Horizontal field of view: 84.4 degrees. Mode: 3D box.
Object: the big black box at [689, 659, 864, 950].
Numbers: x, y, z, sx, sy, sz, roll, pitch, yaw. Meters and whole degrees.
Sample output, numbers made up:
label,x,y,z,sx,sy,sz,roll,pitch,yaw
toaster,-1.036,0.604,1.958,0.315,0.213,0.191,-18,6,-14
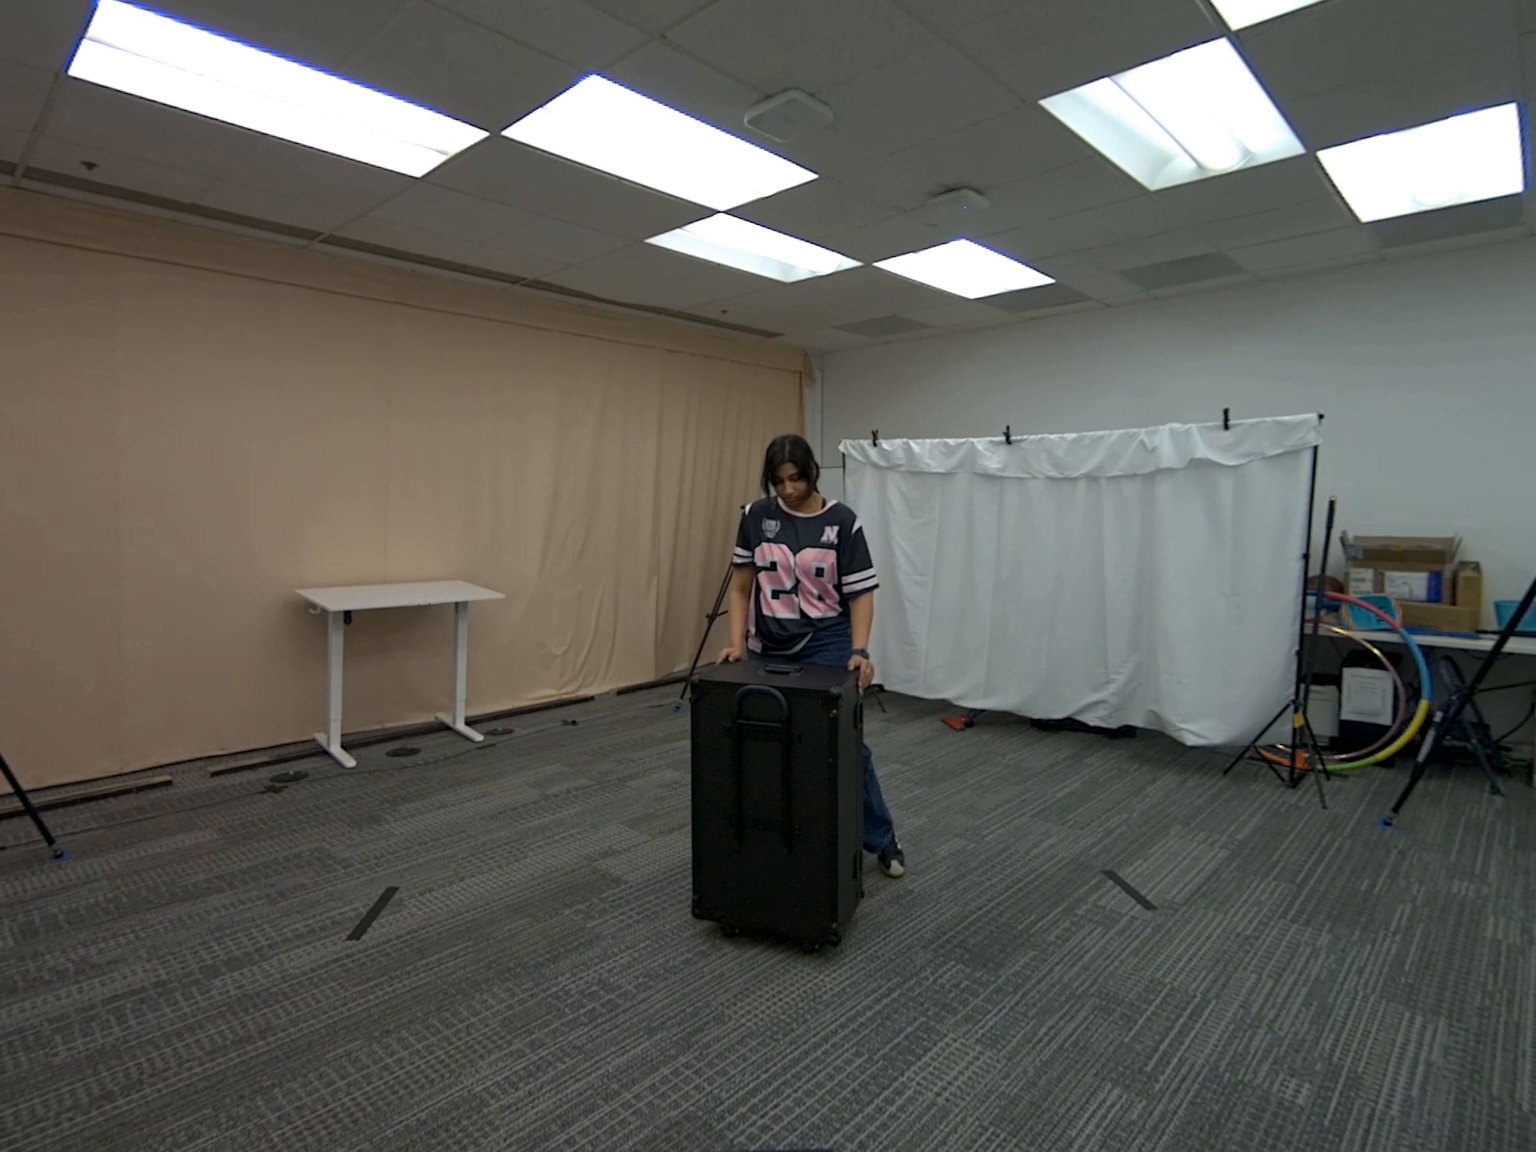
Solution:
label,x,y,z,sx,sy,sz,roll,pitch,yaw
big black box,0.039,0.740,2.742,0.533,0.859,0.388,1,5,22
